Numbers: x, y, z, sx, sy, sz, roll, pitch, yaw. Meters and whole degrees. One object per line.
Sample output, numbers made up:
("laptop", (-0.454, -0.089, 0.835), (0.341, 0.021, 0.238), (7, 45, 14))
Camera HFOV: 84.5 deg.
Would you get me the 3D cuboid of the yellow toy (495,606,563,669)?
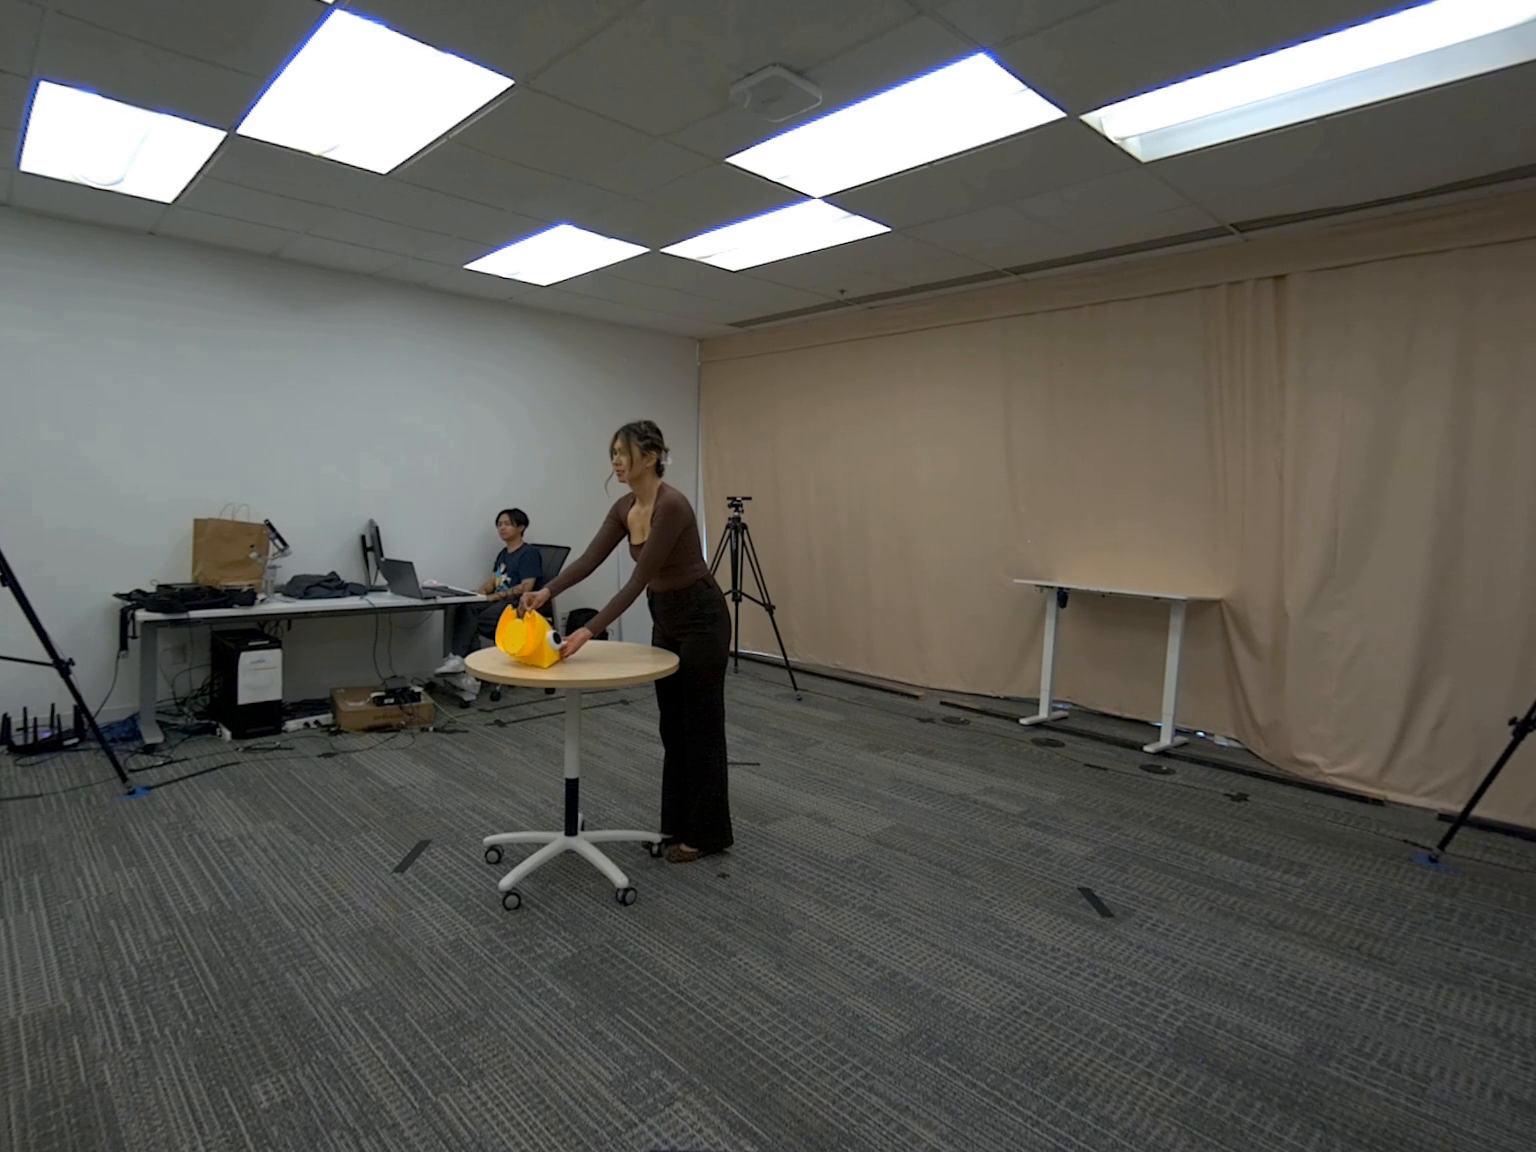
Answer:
("yellow toy", (-0.808, 0.219, 2.948), (0.210, 0.194, 0.224), (7, -8, 36))
